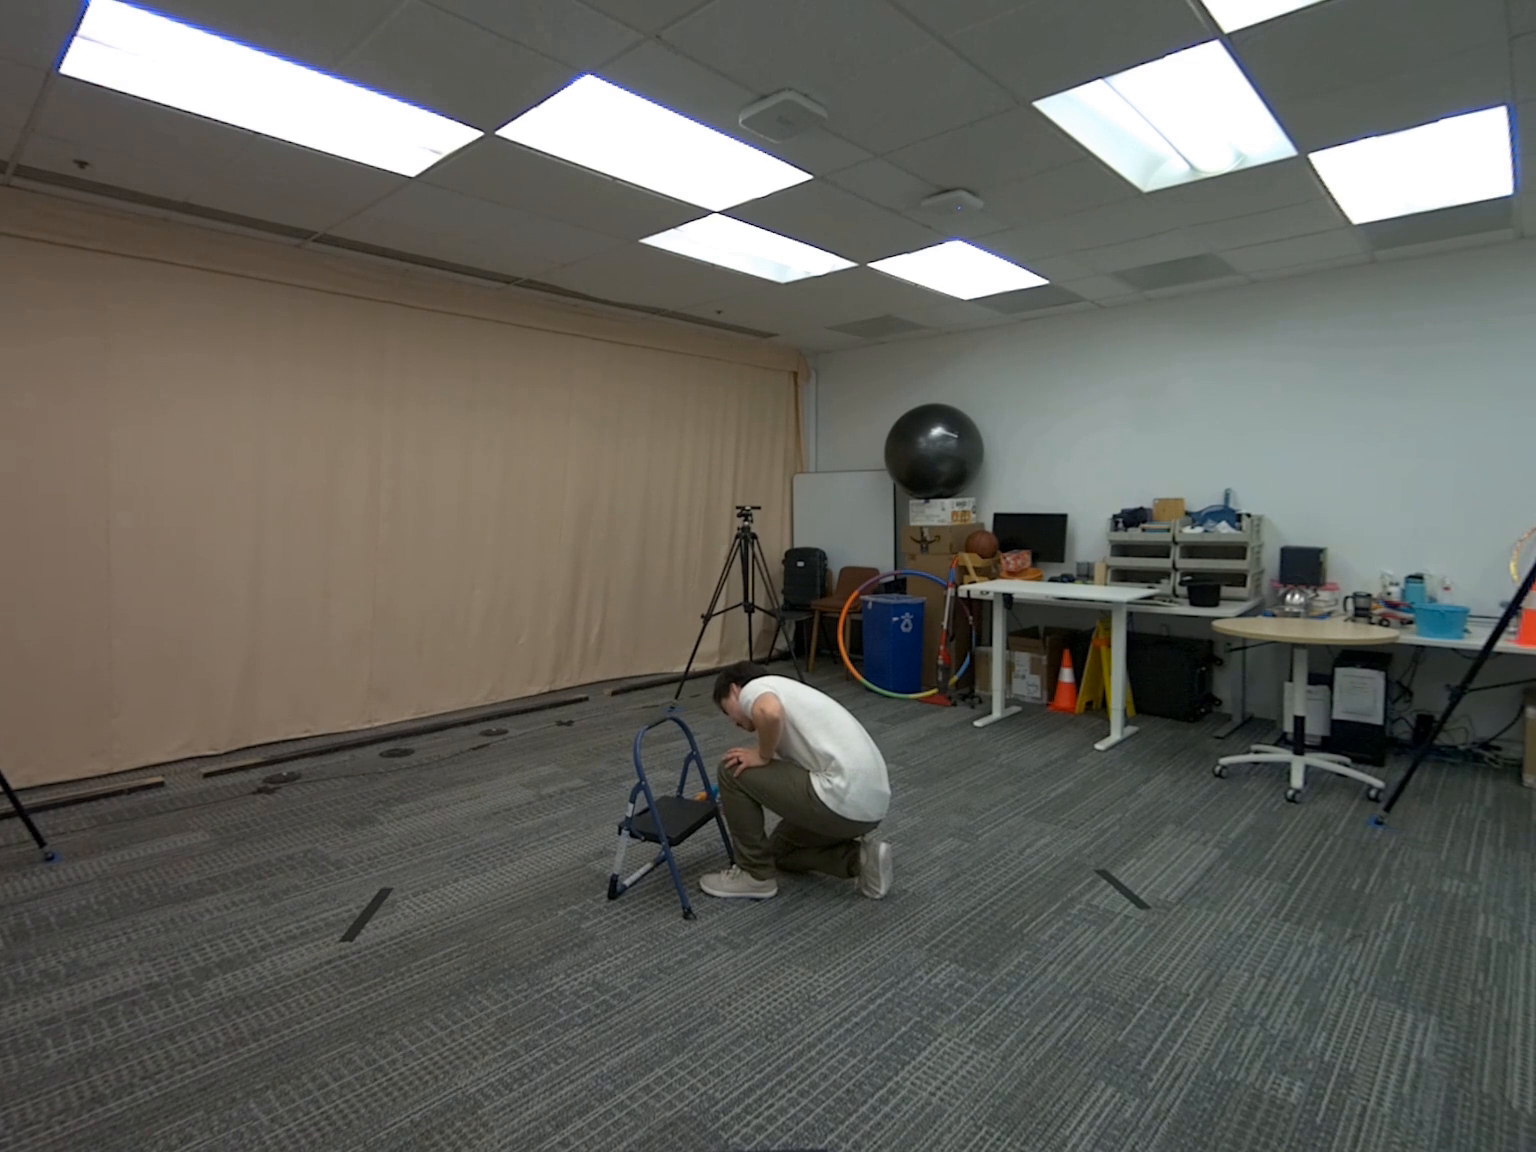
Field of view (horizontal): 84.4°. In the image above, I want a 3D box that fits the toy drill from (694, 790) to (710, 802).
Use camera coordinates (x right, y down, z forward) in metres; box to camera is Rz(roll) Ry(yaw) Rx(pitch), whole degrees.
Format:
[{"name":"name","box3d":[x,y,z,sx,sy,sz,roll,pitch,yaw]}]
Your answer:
[{"name":"toy drill","box3d":[-0.195,0.892,3.341,0.151,0.061,0.165,28,14,29]}]
